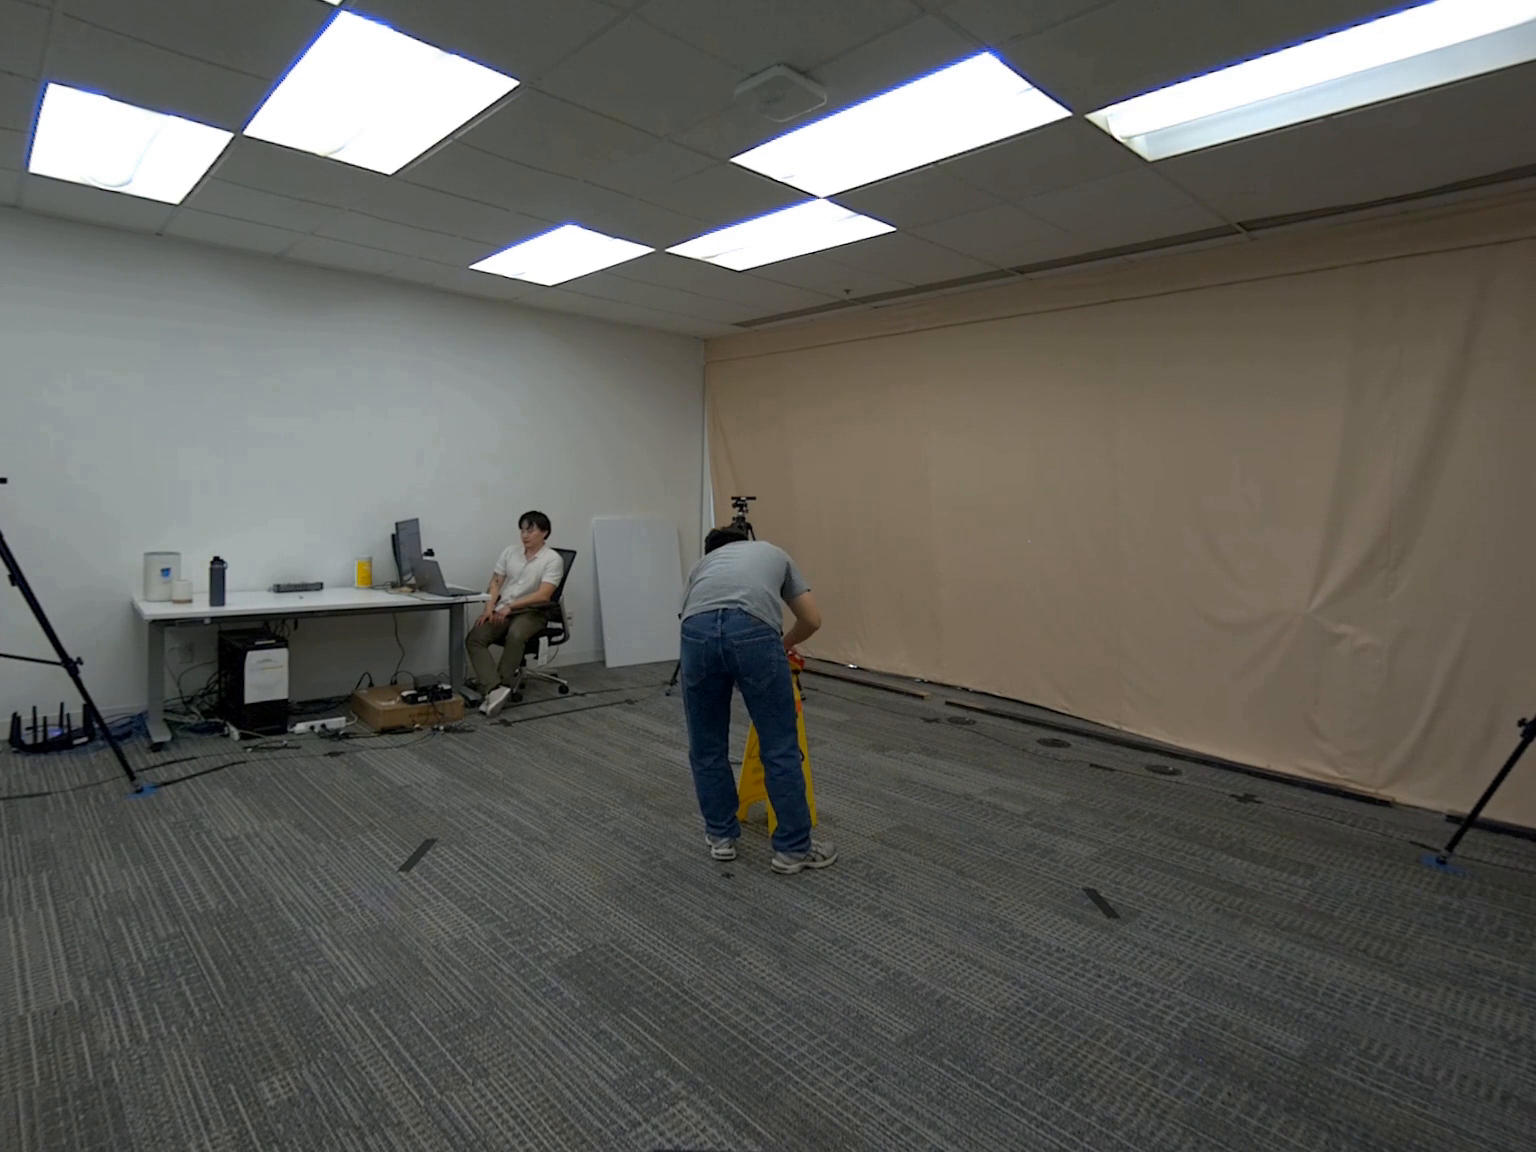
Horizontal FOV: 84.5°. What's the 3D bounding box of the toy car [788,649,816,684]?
[{"bbox_3d":[0.072,0.394,3.637,0.128,0.084,0.256,30,-31,-15],"label":"toy car"}]
